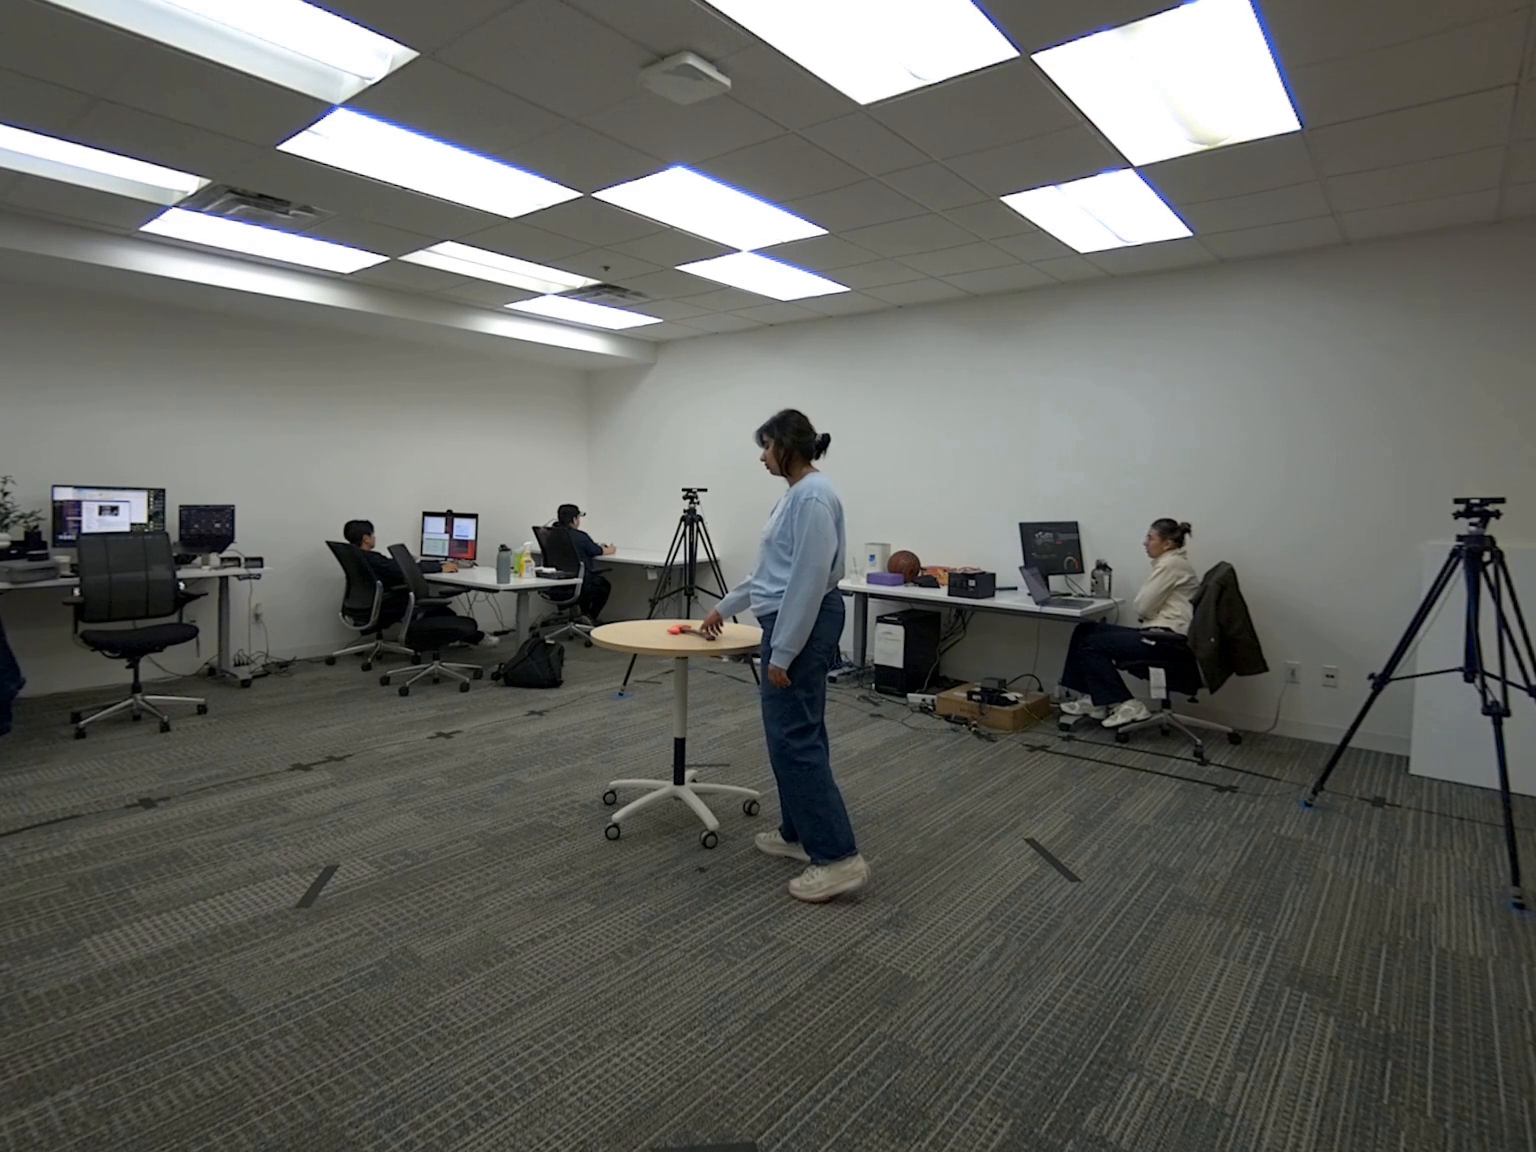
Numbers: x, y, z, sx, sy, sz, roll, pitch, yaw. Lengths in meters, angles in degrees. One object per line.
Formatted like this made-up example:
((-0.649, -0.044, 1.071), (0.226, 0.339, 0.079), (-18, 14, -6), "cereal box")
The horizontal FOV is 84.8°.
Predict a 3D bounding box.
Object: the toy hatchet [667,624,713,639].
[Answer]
((-0.331, 0.233, 3.507), (0.128, 0.029, 0.278), (-1, 7, -26), "toy hatchet")
